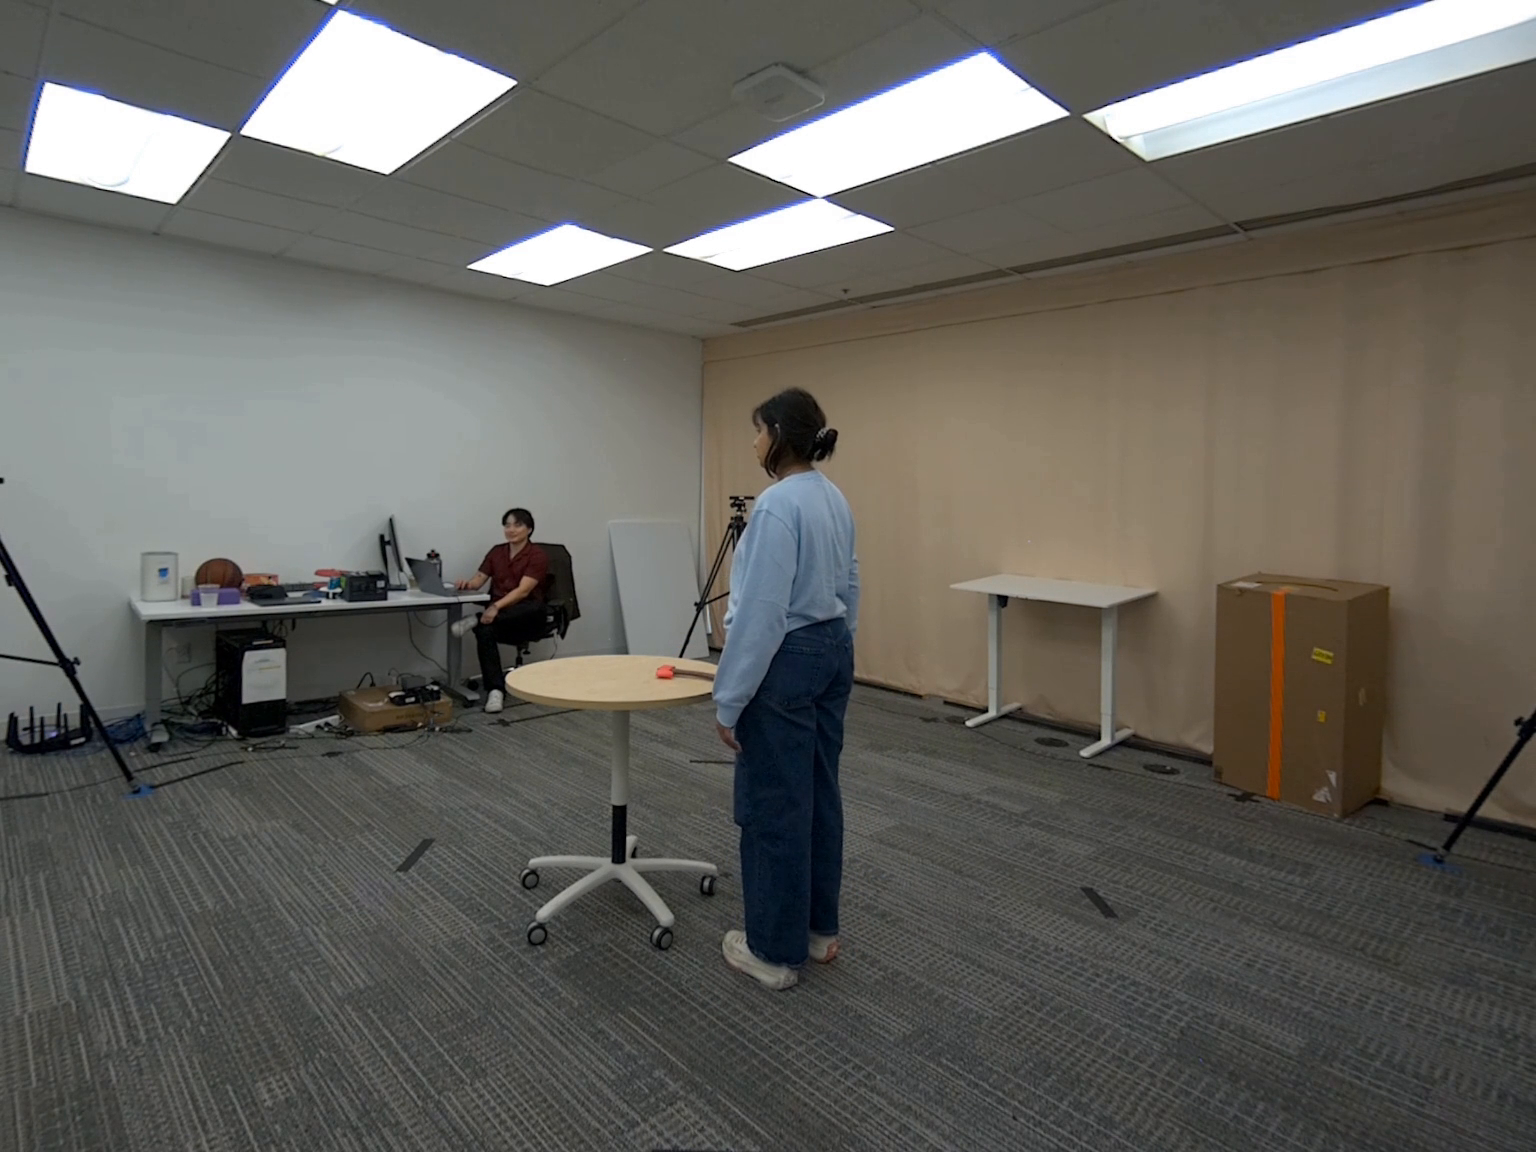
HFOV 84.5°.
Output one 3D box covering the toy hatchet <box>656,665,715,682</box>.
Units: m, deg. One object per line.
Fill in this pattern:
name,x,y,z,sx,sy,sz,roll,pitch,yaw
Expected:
toy hatchet,-0.270,0.331,2.796,0.277,0.029,0.128,6,7,38
